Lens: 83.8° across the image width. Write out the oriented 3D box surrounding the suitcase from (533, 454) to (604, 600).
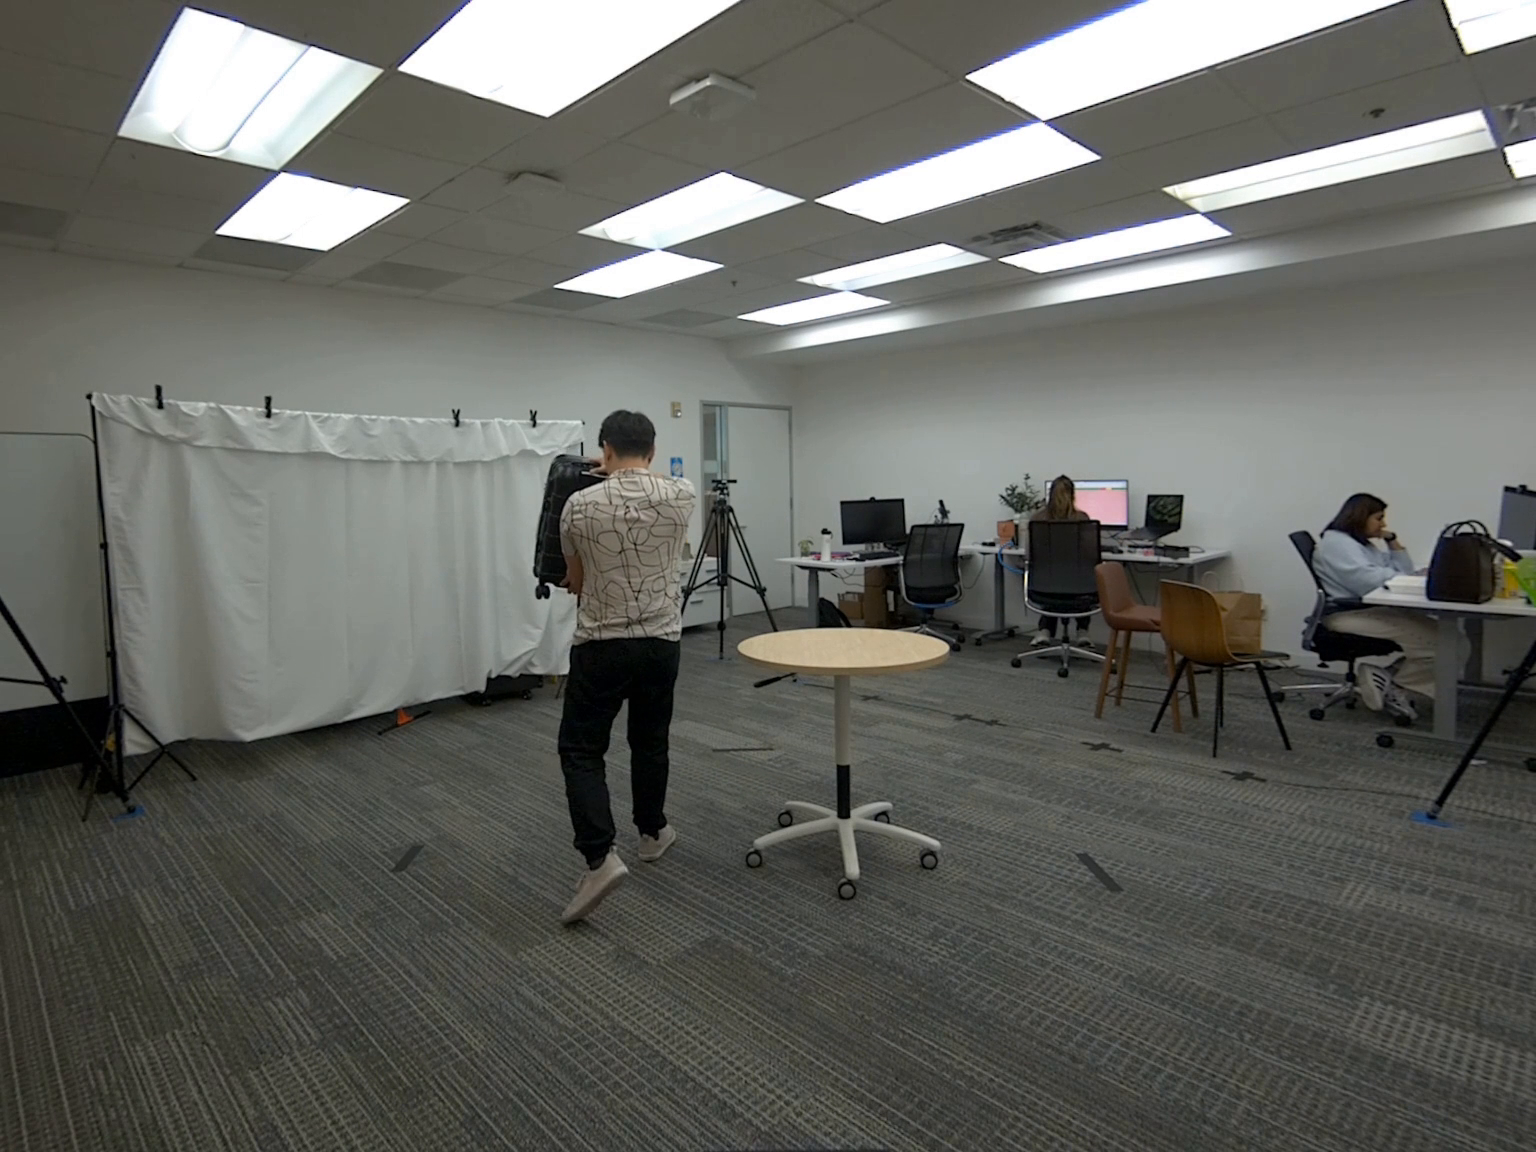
[{"bbox_3d":[-0.720,-0.196,3.368,0.368,0.542,0.256,7,21,-19],"label":"suitcase"}]
